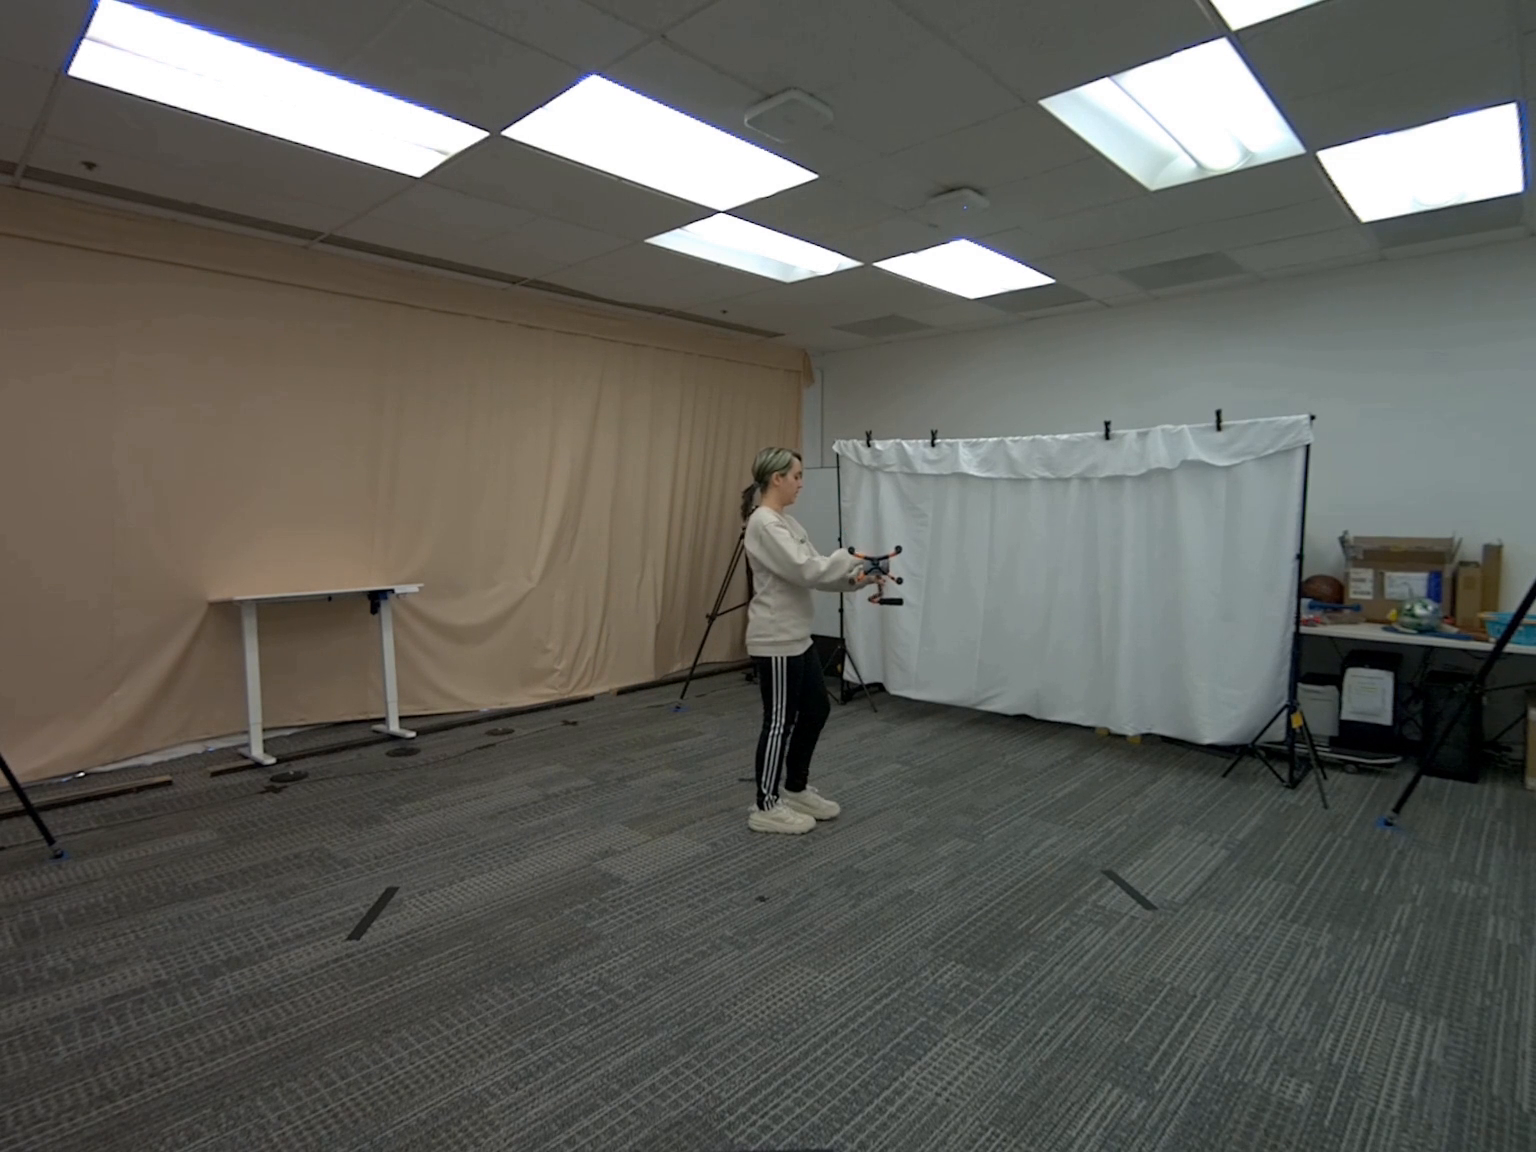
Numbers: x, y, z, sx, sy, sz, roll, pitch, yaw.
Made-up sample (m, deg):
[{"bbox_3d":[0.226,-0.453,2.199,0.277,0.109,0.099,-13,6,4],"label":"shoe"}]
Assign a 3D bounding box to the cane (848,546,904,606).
[{"bbox_3d":[0.484,0.057,3.624,0.208,0.153,0.891,-1,-13,8],"label":"cane"}]
